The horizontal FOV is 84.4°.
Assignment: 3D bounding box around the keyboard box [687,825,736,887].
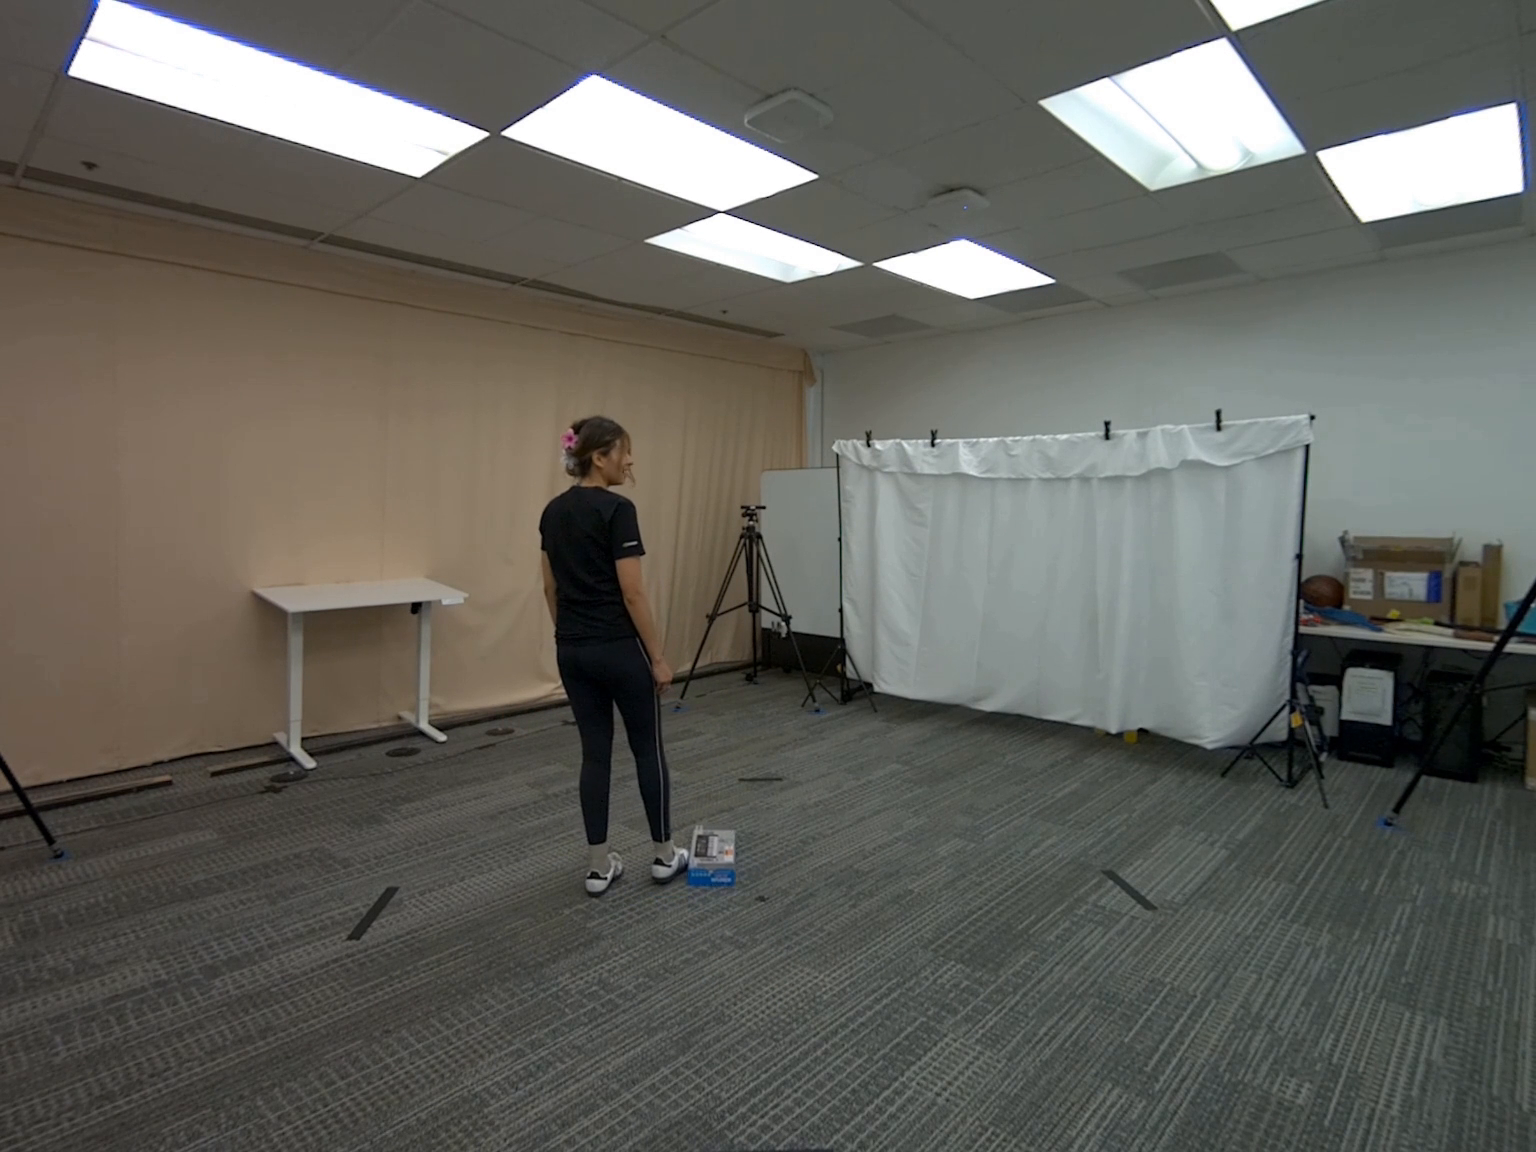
[{"bbox_3d":[-0.215,1.087,3.302,0.176,0.059,0.438,0,5,-1],"label":"keyboard box"}]
